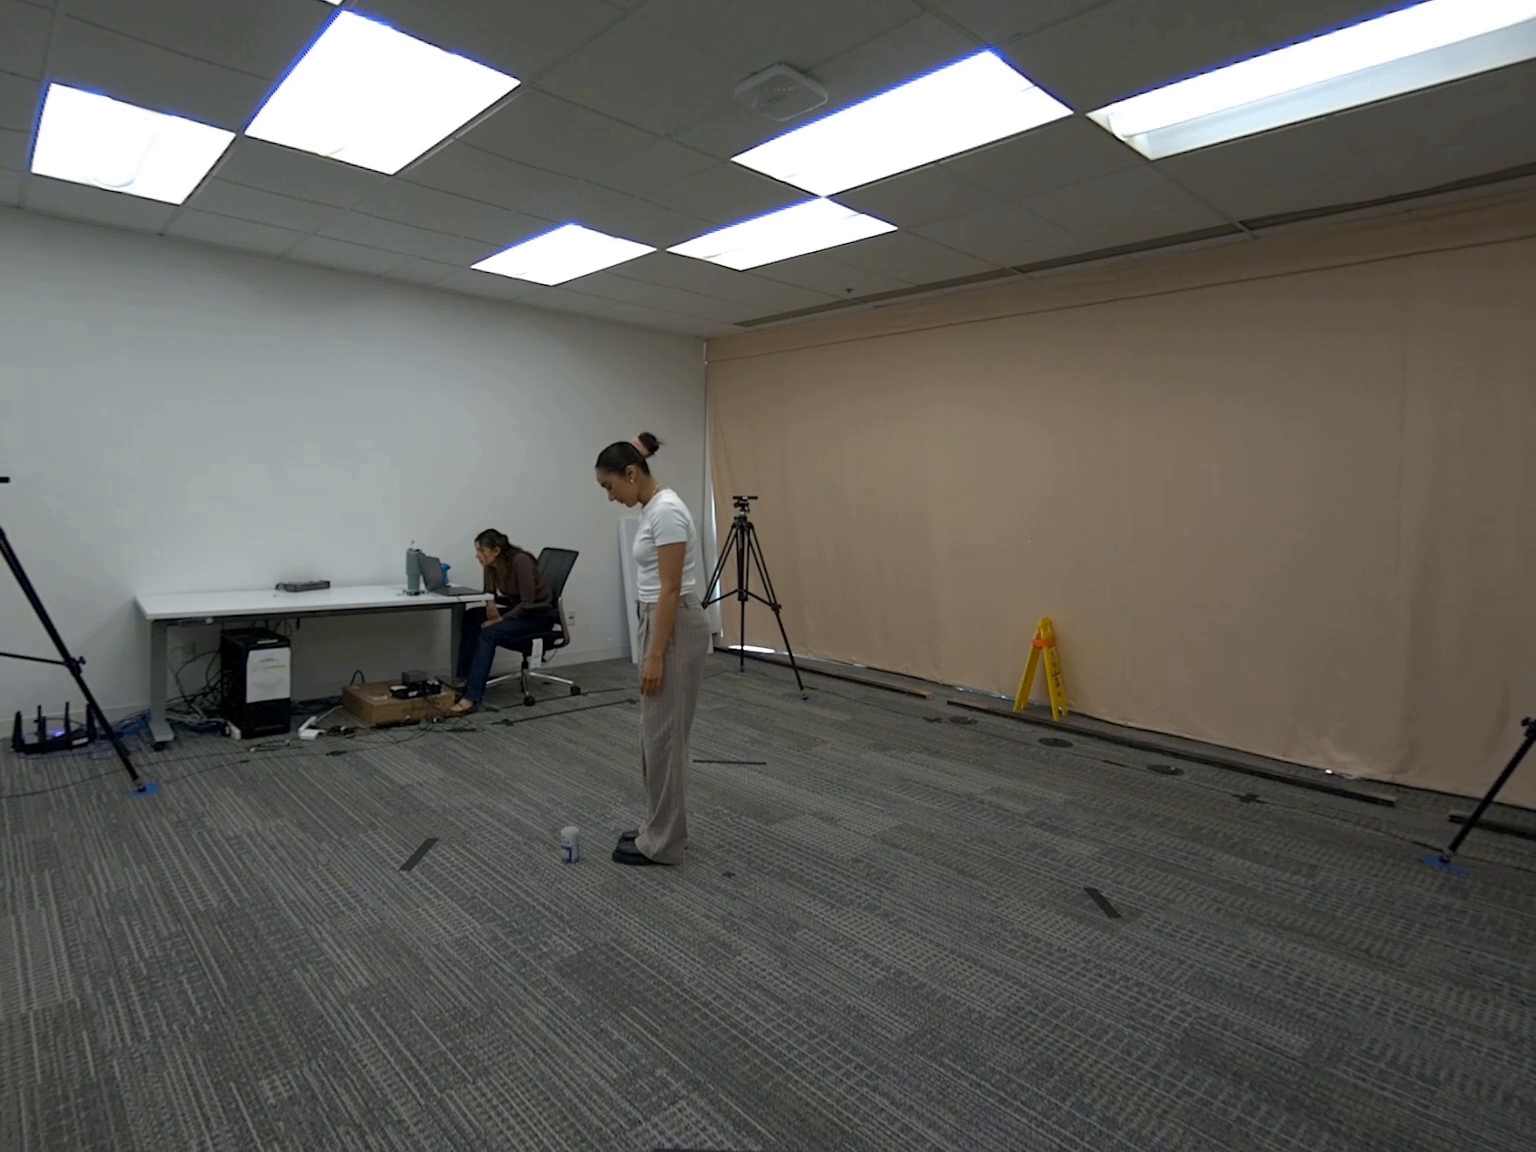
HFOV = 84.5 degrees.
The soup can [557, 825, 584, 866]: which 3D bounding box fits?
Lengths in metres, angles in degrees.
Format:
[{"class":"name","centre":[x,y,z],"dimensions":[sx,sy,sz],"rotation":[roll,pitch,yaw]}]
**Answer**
[{"class":"soup can","centre":[-0.740,1.012,3.191],"dimensions":[0.067,0.121,0.067],"rotation":[-6,6,-1]}]
